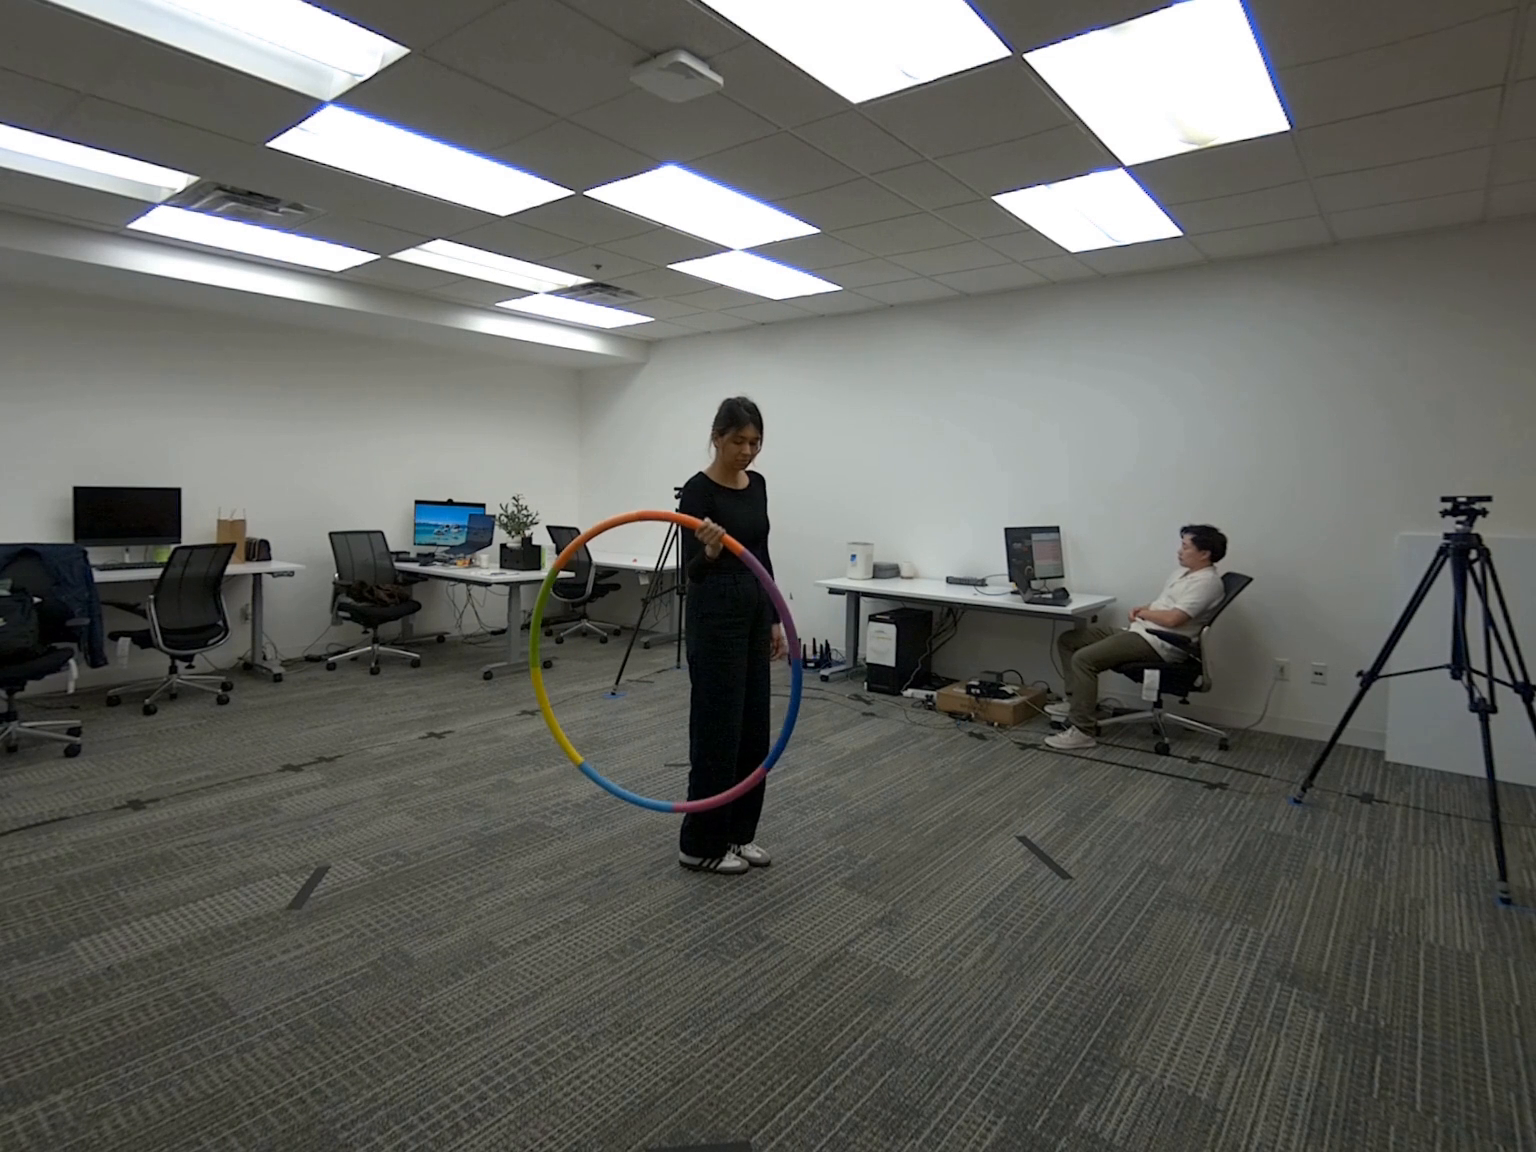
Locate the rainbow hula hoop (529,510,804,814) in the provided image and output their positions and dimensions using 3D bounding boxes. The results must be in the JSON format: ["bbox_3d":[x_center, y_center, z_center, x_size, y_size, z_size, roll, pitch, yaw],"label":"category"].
[{"bbox_3d":[-0.369,0.270,2.774,1.007,0.979,0.051,2,7,21],"label":"rainbow hula hoop"}]
